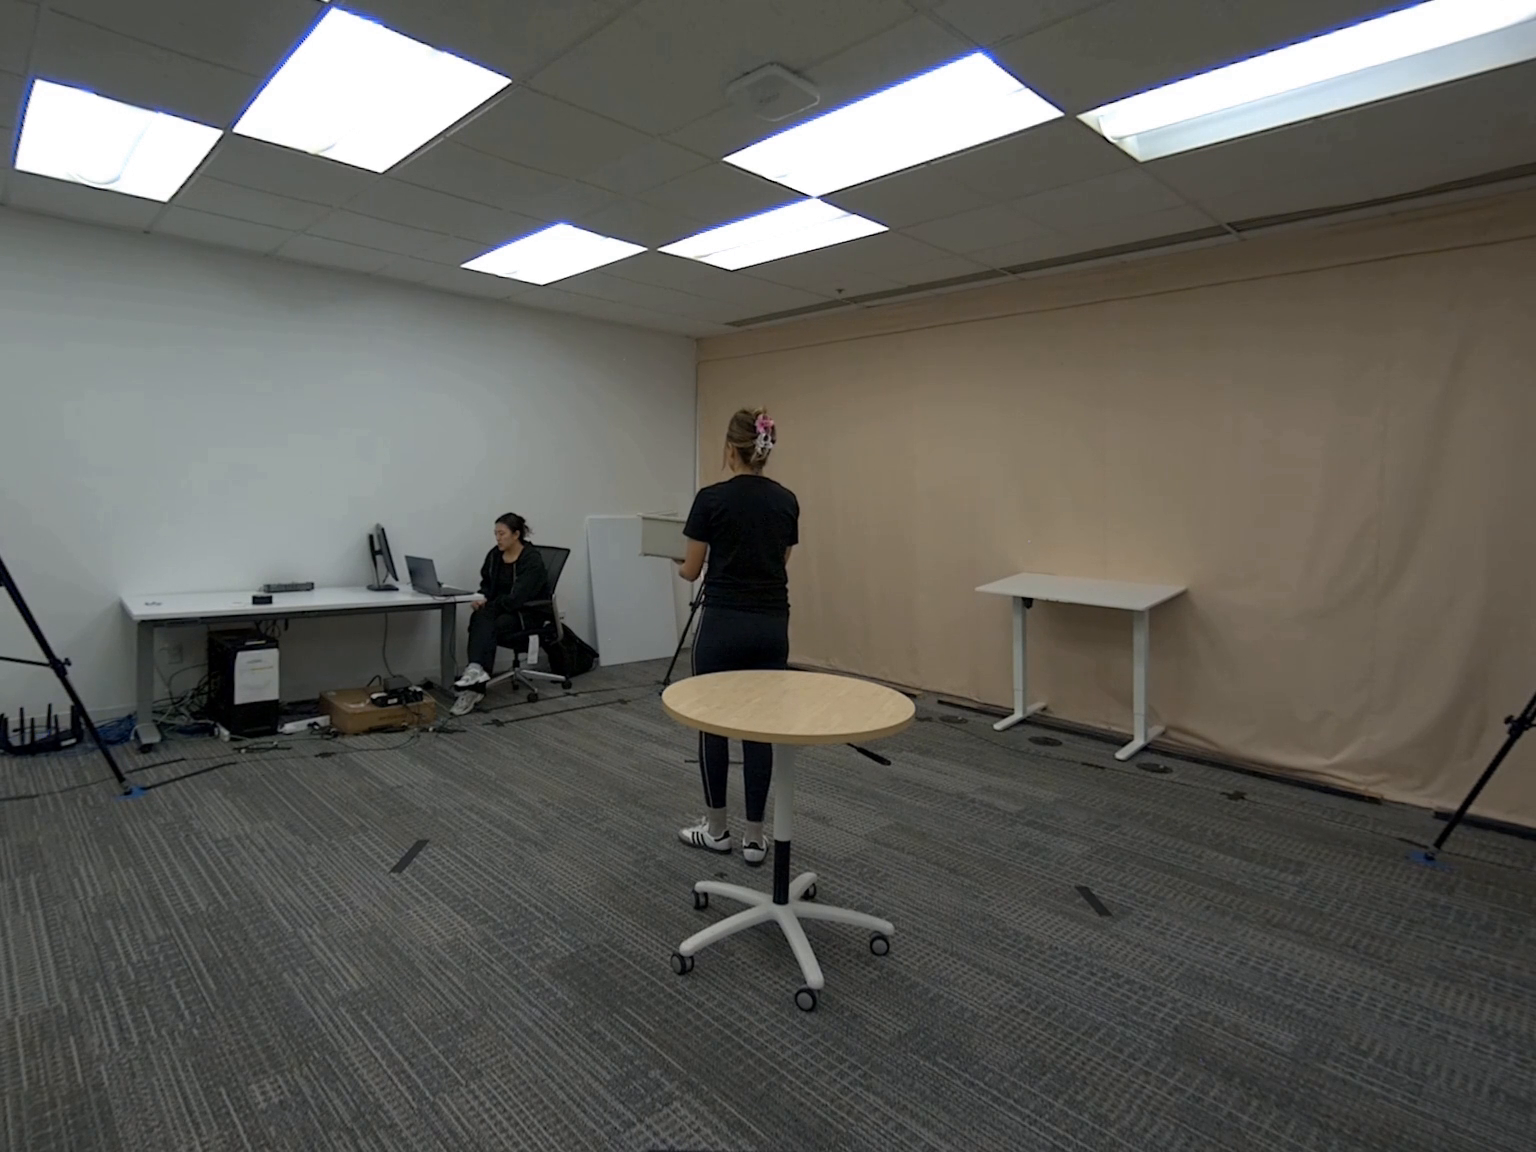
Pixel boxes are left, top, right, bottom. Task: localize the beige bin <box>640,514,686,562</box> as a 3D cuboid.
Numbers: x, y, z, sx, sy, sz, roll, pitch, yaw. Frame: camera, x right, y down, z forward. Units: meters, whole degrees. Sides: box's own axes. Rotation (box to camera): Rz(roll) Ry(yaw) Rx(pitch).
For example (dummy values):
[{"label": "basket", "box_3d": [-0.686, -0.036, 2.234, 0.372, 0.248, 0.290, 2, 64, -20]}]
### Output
[{"label": "beige bin", "box_3d": [-0.305, -0.171, 3.629, 0.430, 0.188, 0.373, 7, 11, 20]}]
